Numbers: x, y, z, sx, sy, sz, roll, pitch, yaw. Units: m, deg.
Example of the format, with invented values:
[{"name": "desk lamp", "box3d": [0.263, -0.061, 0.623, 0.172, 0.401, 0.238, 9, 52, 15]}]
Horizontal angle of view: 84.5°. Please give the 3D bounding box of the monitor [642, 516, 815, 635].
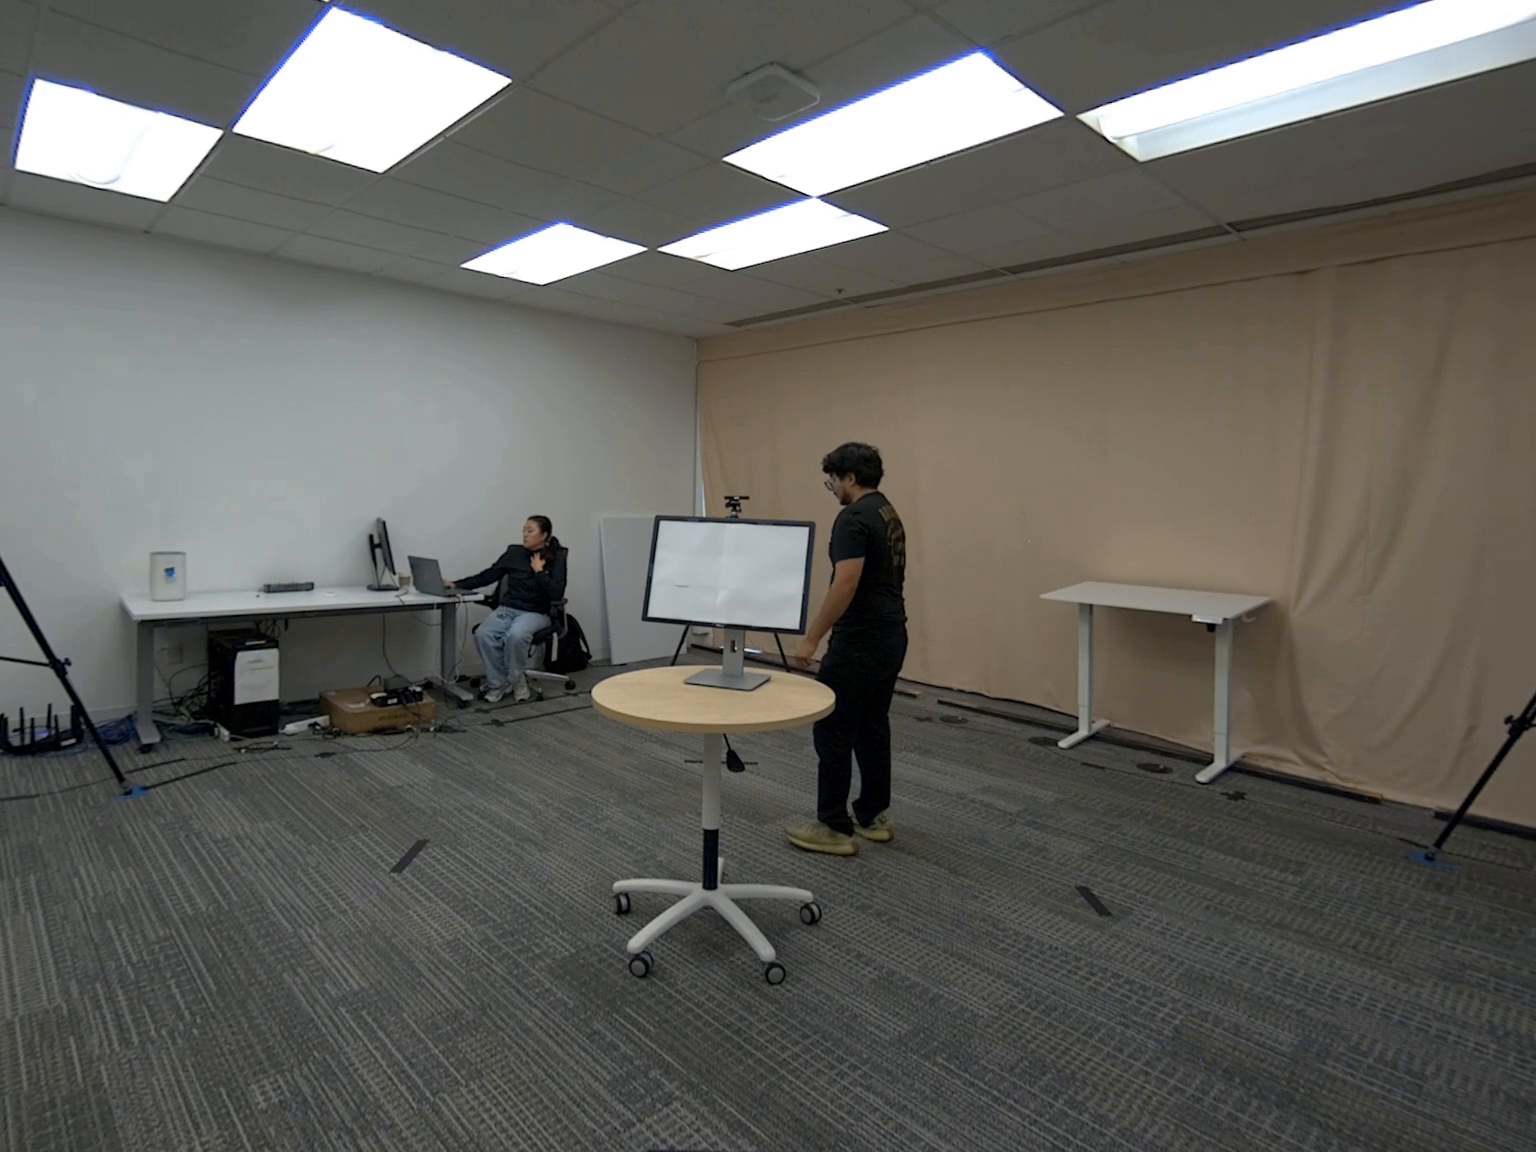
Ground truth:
[{"name": "monitor", "box3d": [-0.121, 0.085, 2.805, 0.574, 0.555, 0.206, 3, -2, 20]}]
